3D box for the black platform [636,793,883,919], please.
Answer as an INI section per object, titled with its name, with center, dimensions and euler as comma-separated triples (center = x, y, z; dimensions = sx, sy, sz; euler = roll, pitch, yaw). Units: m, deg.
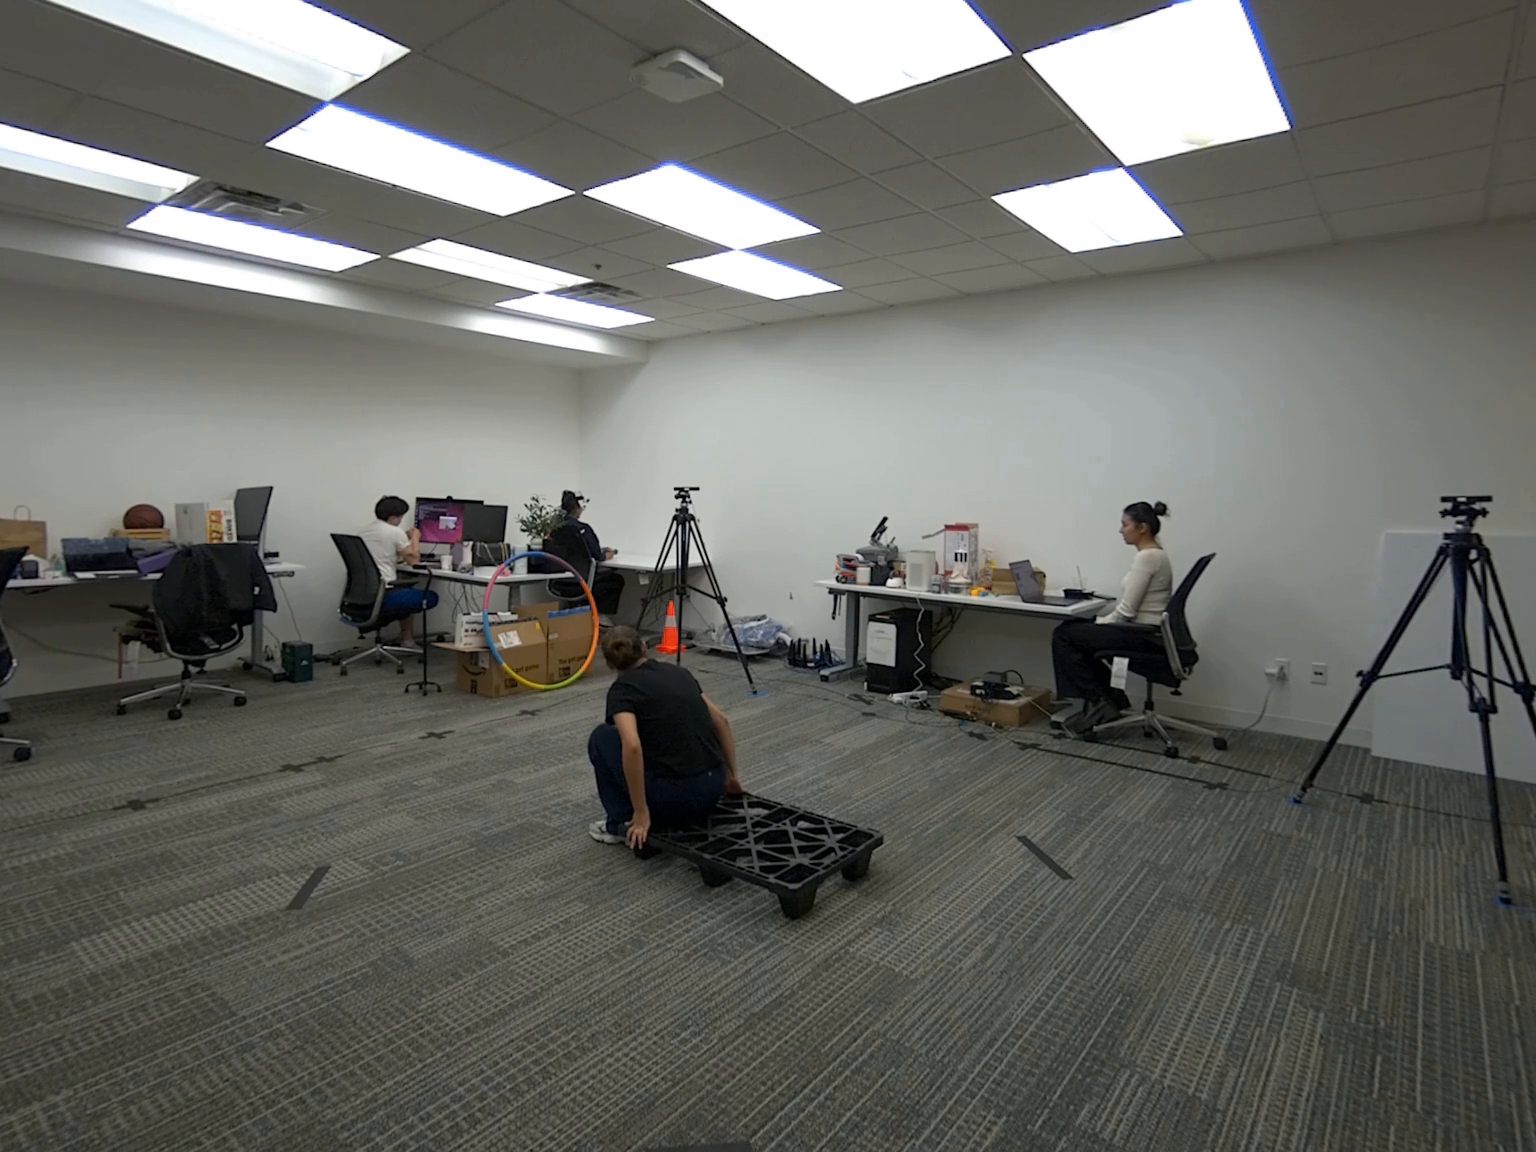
[black platform]
center = -0.048, 1.001, 3.161
dimensions = 0.832, 0.143, 0.587
euler = 5, 6, 38
